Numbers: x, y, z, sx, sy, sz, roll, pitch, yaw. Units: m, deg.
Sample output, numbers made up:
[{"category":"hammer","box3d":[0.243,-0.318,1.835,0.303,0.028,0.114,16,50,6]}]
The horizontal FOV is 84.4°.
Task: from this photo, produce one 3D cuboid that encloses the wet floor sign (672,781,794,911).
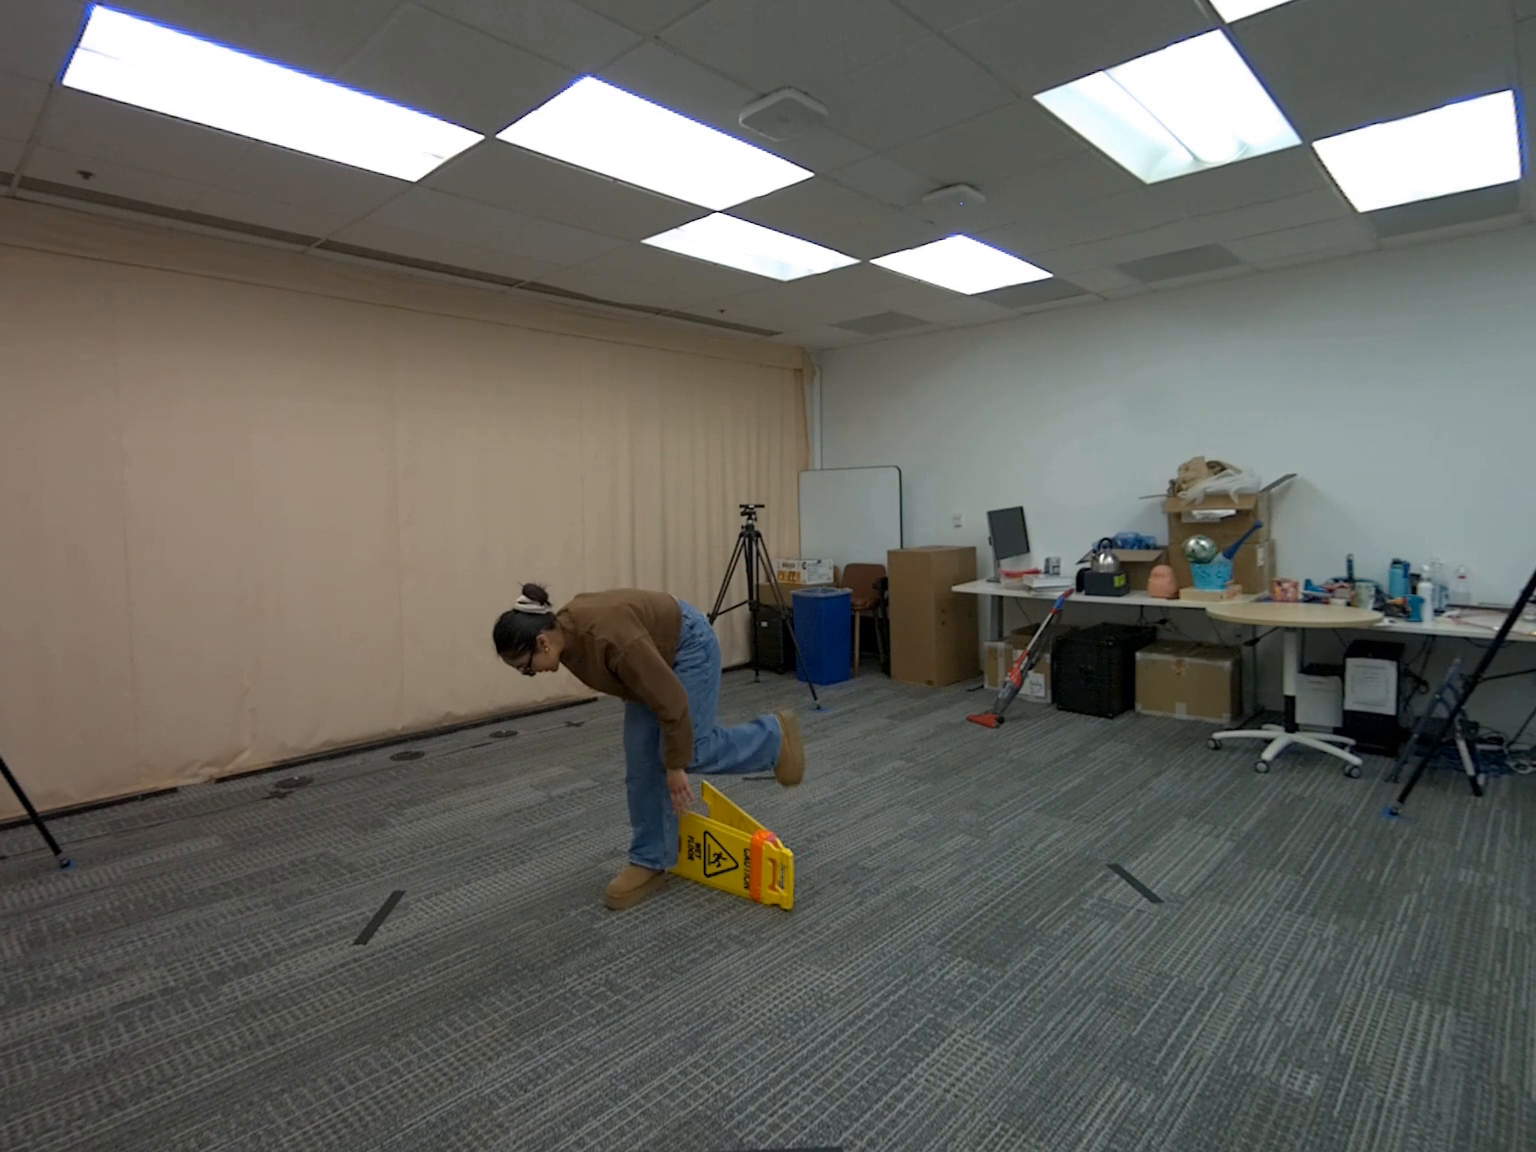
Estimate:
[{"category":"wet floor sign","box3d":[-0.139,1.006,3.105,0.281,0.281,0.668,-5,8,-42]}]
